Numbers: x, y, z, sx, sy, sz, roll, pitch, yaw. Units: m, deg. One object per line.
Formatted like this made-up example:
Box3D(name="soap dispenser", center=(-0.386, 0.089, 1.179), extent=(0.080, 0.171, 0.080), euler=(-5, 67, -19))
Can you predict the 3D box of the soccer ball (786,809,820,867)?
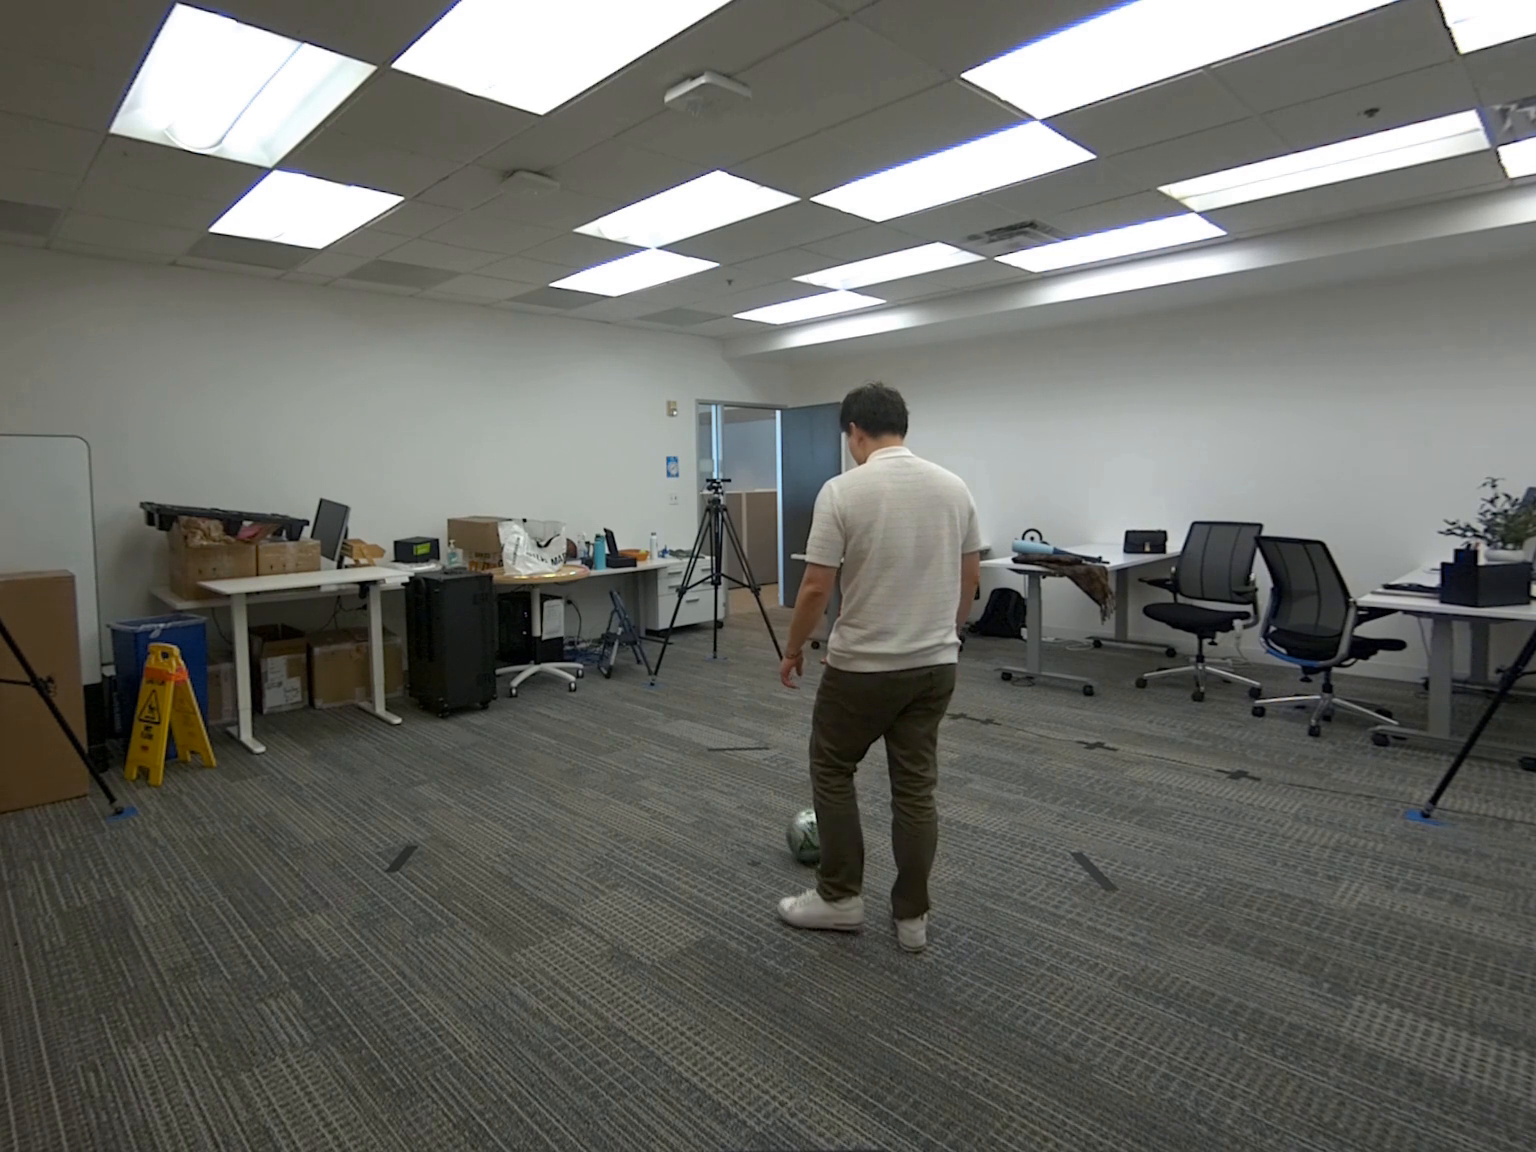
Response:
Box3D(name="soccer ball", center=(0.161, 0.943, 3.124), extent=(0.187, 0.187, 0.188), euler=(-1, 5, -2))
